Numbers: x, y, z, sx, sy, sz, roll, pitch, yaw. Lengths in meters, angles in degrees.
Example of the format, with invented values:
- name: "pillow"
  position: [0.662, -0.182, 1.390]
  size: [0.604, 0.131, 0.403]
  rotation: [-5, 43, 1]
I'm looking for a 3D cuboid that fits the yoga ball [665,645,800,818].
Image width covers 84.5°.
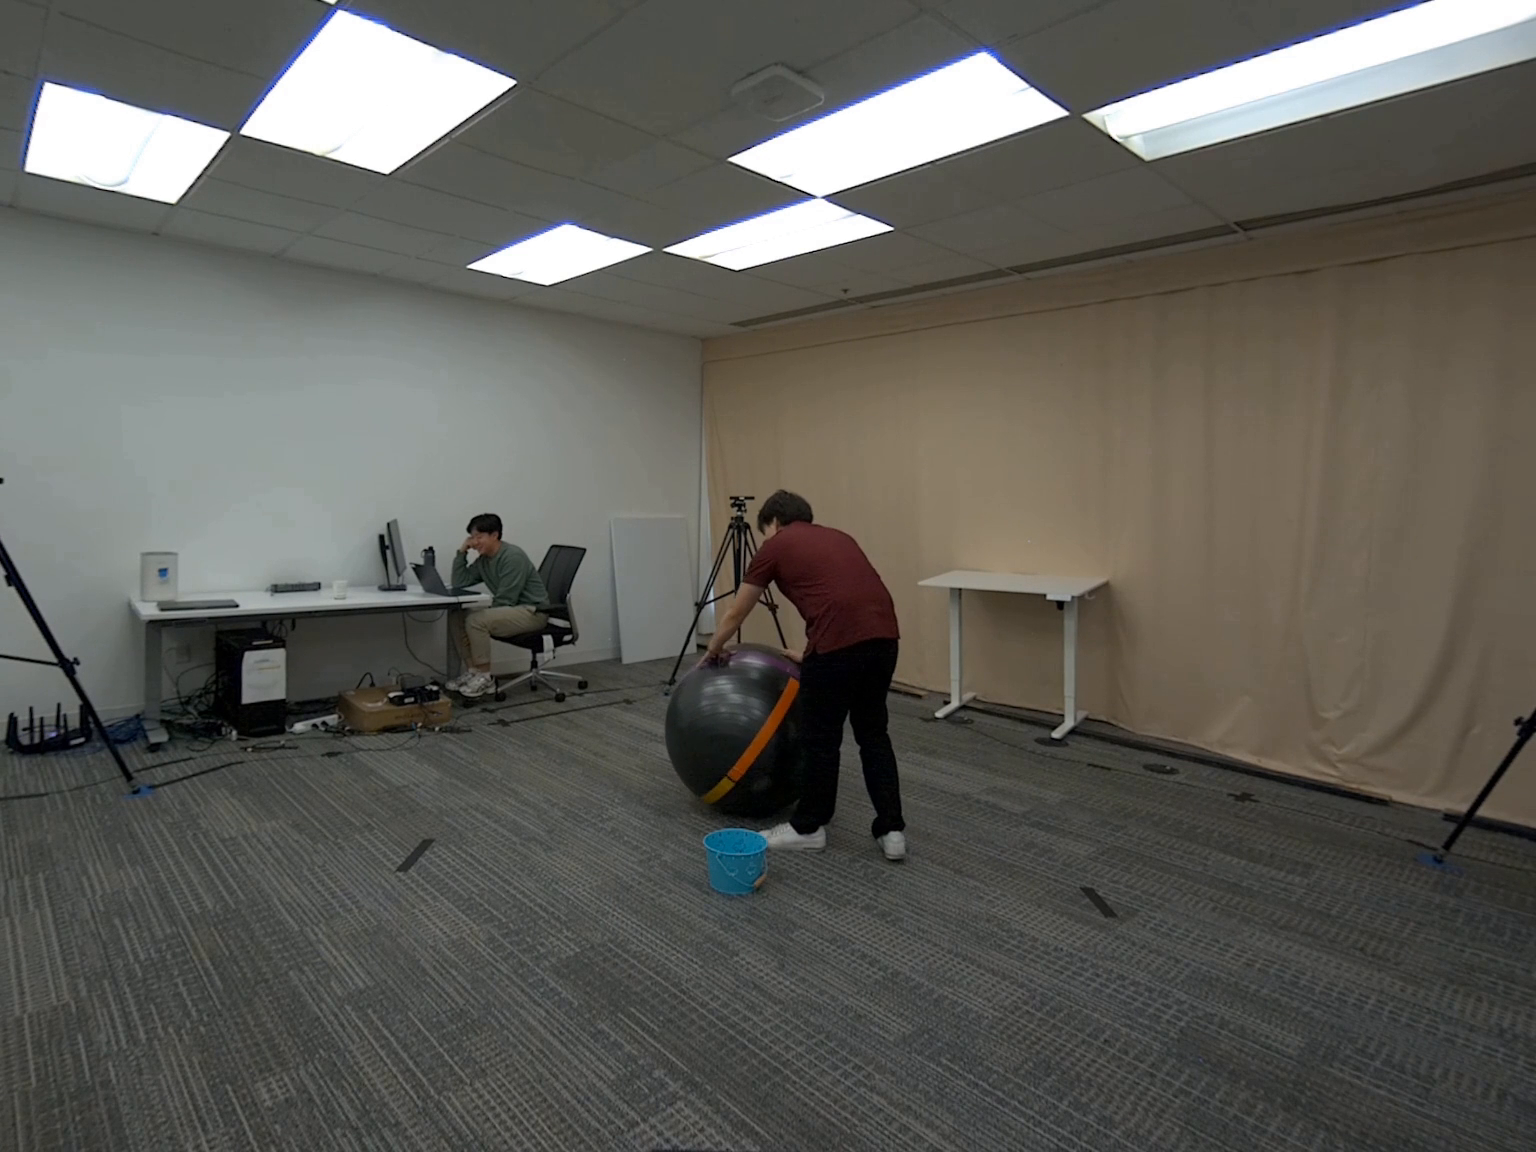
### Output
- name: "yoga ball"
  position: [-0.095, 0.688, 3.815]
  size: [0.757, 0.756, 0.761]
  rotation: [1, 4, -1]
